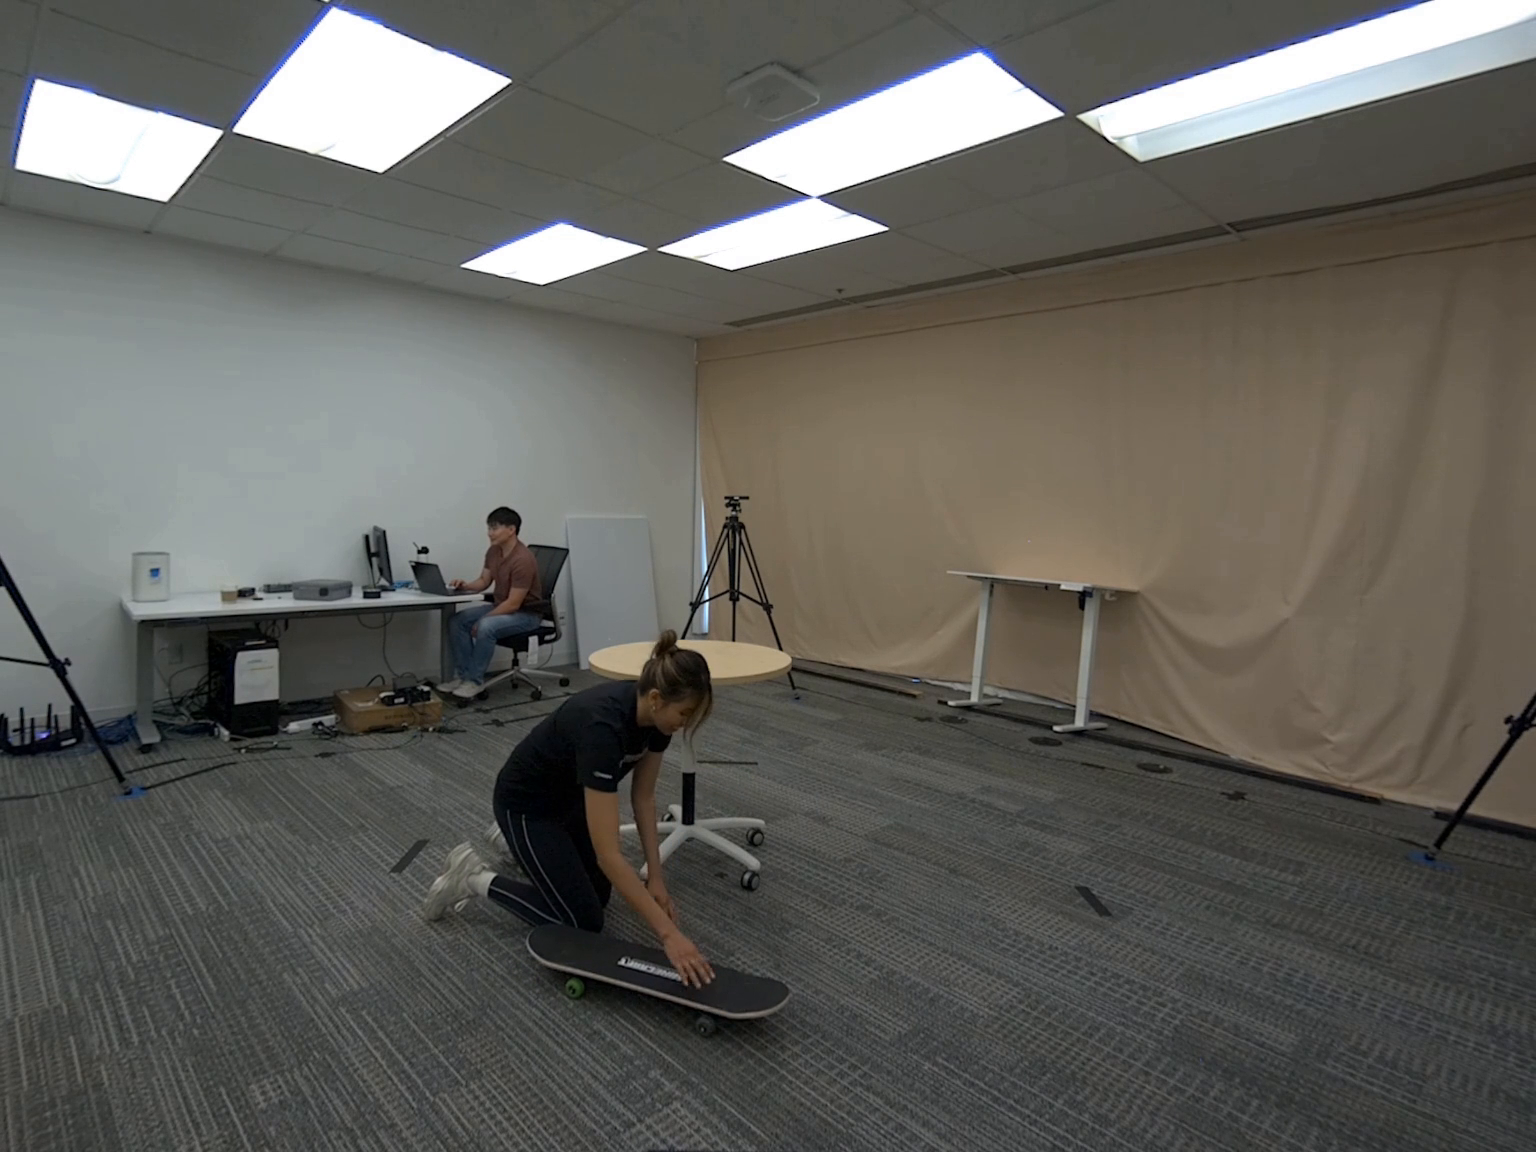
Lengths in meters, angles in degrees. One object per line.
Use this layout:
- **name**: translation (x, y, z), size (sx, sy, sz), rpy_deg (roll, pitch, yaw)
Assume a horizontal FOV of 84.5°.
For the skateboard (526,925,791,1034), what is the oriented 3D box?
- **skateboard**: translation (-0.329, 1.116, 2.318), size (0.799, 0.110, 0.190), rpy_deg (3, 4, 22)
